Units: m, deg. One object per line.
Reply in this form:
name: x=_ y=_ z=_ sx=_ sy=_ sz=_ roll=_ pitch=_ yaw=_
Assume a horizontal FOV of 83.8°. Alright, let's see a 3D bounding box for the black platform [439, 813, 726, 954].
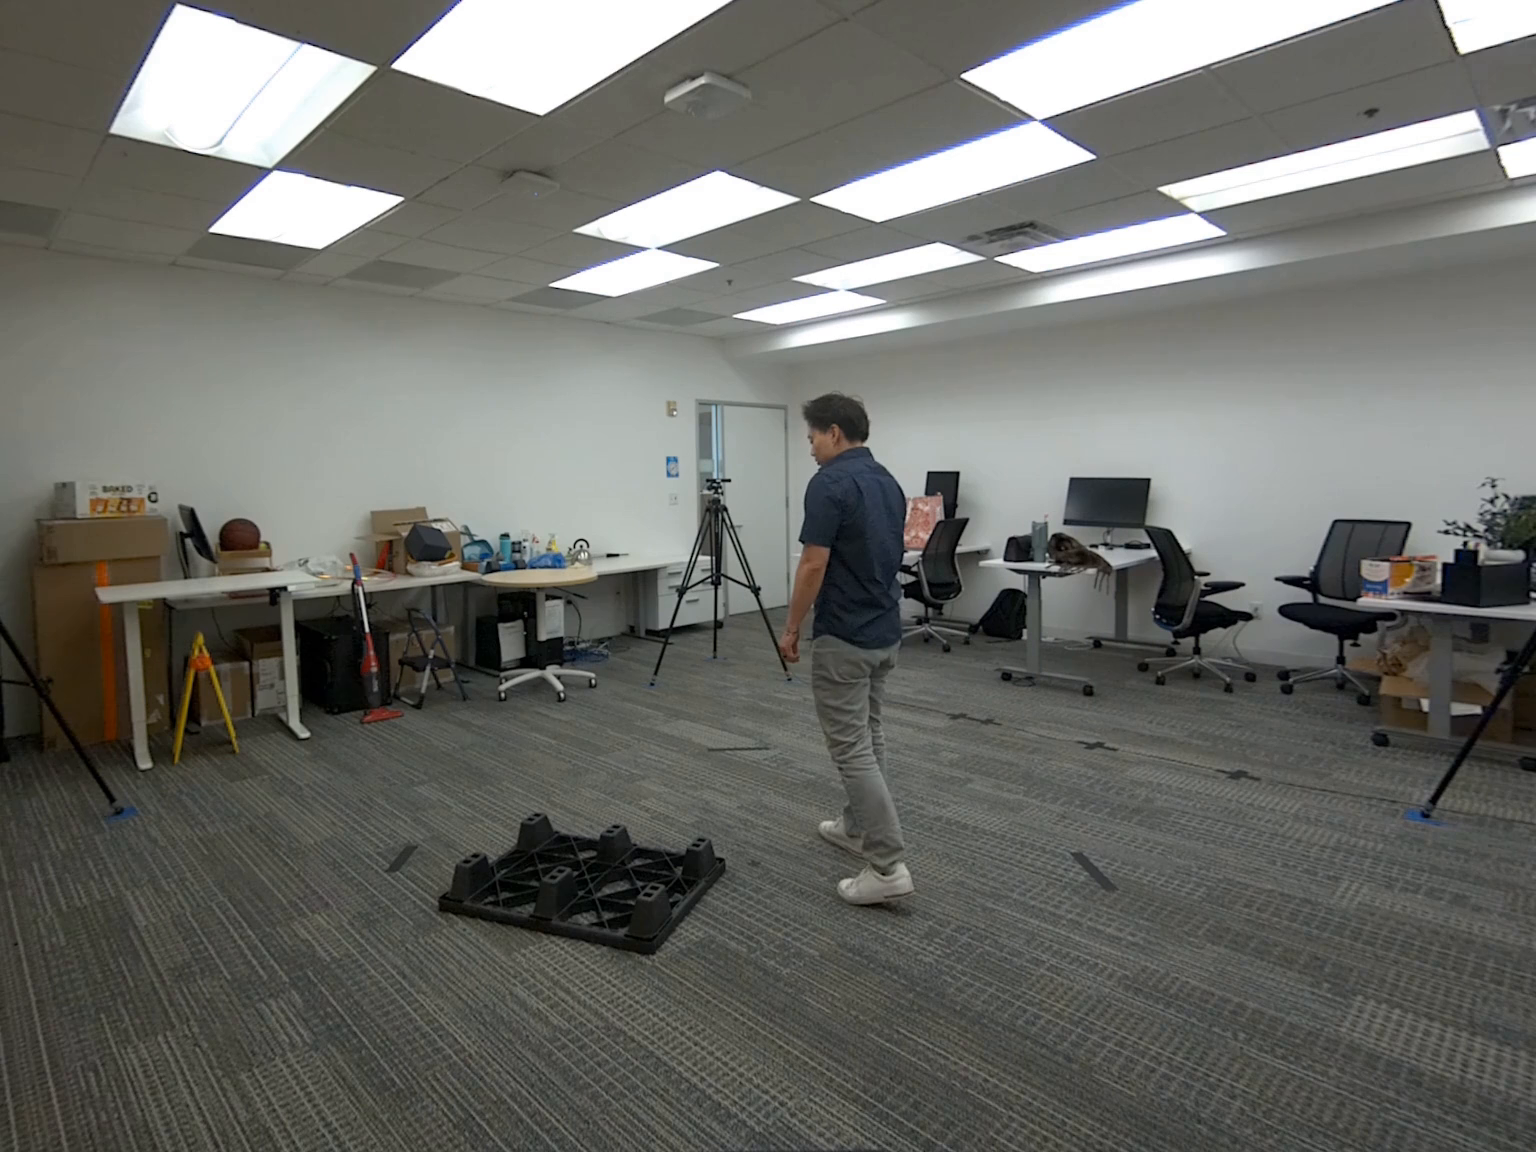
black platform: x=-0.620 y=1.013 z=2.927 sx=0.821 sy=0.143 sz=0.596 roll=1 pitch=6 yaw=20
